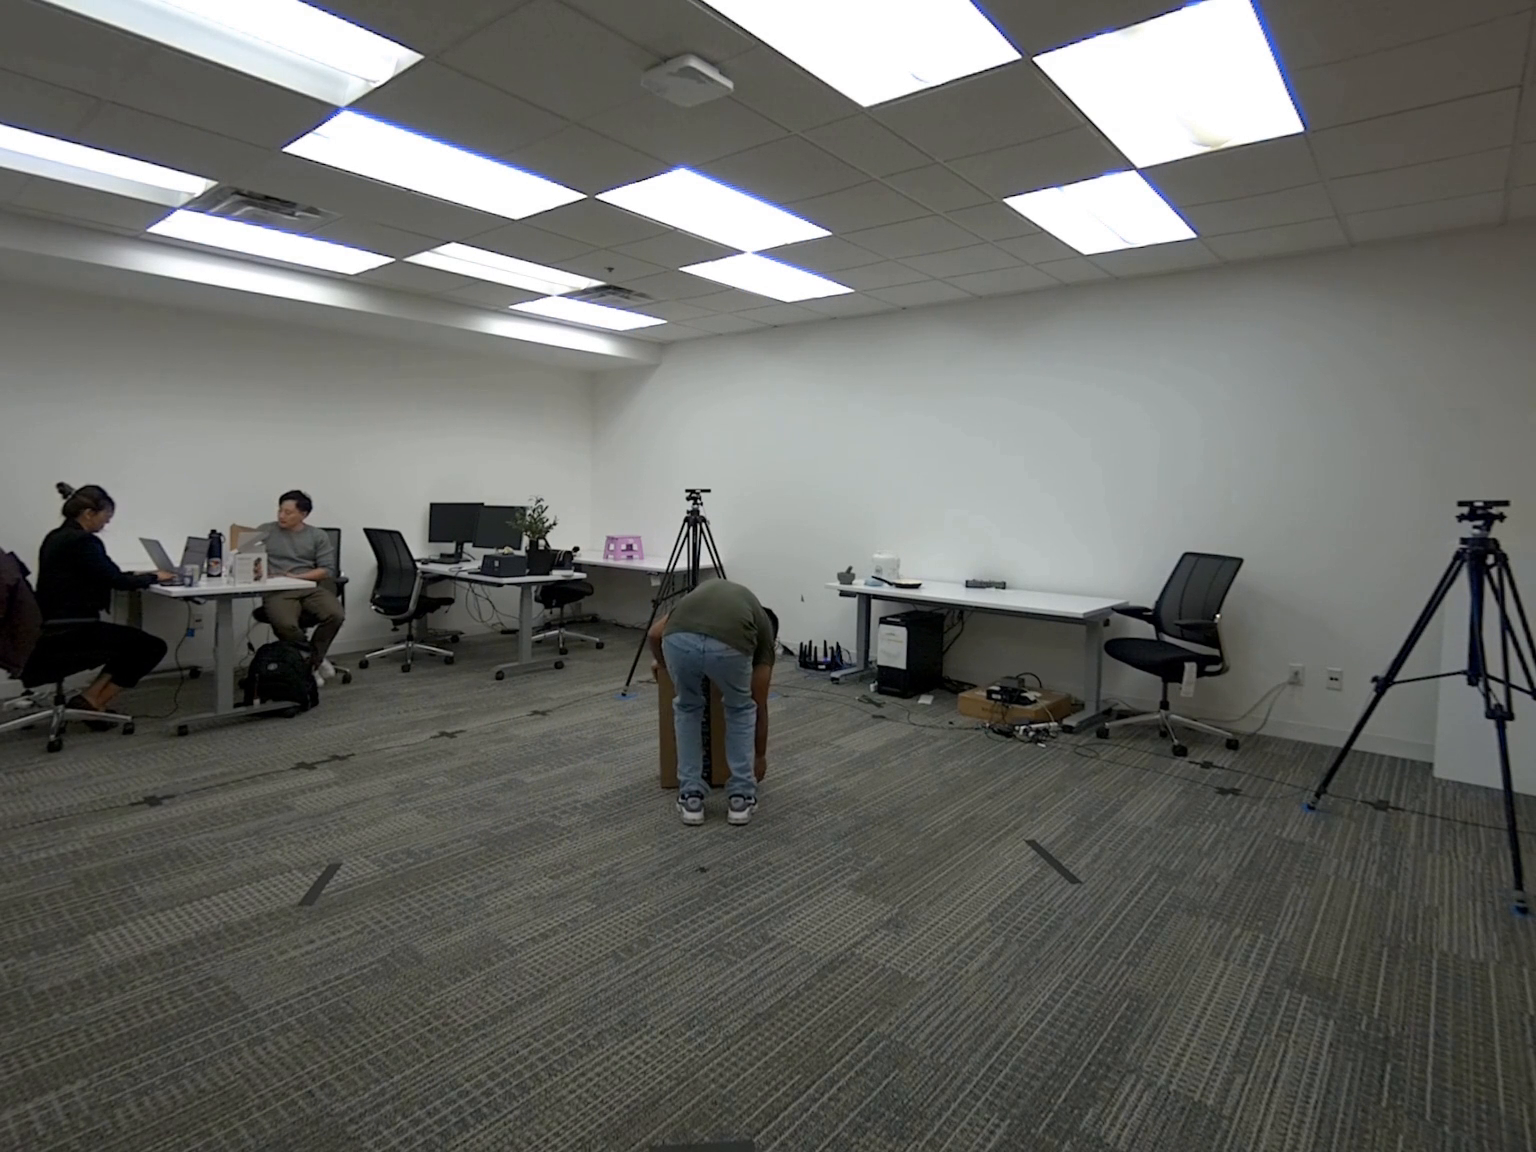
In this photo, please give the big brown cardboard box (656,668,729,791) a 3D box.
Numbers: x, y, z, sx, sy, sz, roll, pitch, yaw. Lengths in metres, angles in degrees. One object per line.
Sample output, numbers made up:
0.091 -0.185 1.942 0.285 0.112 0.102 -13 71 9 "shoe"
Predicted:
-0.328 0.688 4.066 0.416 0.587 0.235 -2 3 -4 "big brown cardboard box"
